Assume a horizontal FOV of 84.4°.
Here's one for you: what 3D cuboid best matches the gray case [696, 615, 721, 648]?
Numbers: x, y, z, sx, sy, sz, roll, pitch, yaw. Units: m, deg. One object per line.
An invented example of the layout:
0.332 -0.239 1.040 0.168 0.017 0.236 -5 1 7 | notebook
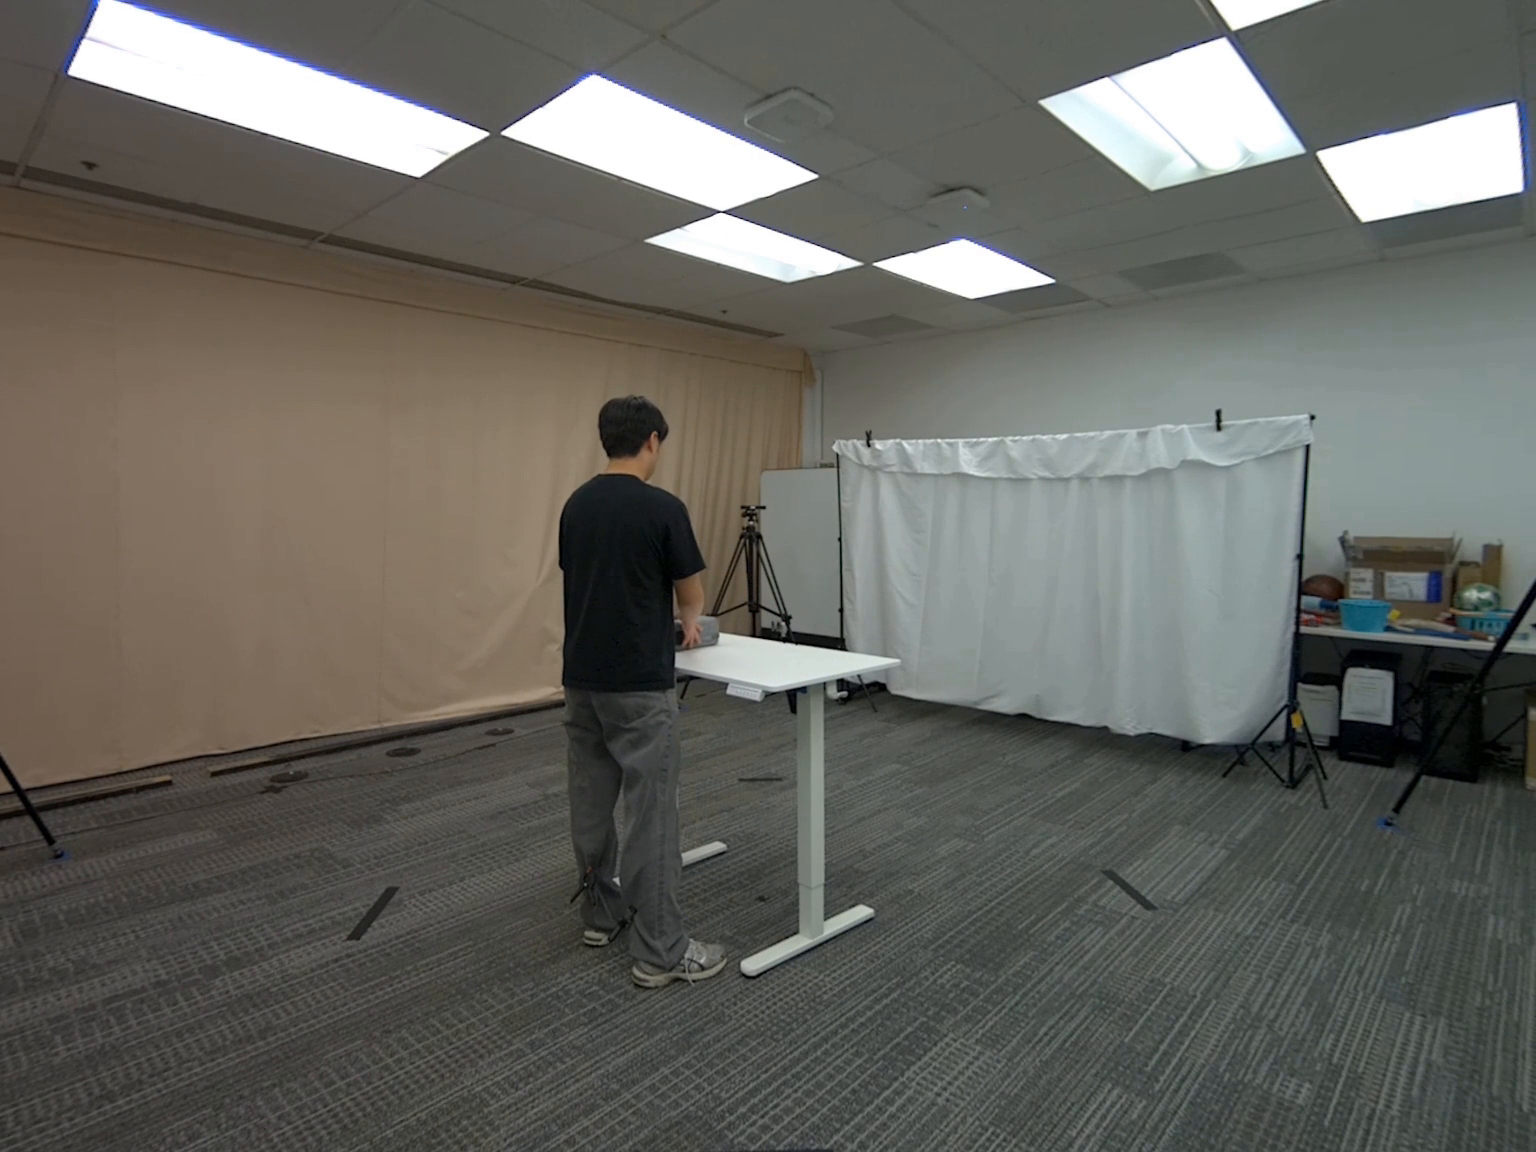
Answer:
-0.349 0.203 3.111 0.255 0.103 0.297 -4 5 -43 | gray case
